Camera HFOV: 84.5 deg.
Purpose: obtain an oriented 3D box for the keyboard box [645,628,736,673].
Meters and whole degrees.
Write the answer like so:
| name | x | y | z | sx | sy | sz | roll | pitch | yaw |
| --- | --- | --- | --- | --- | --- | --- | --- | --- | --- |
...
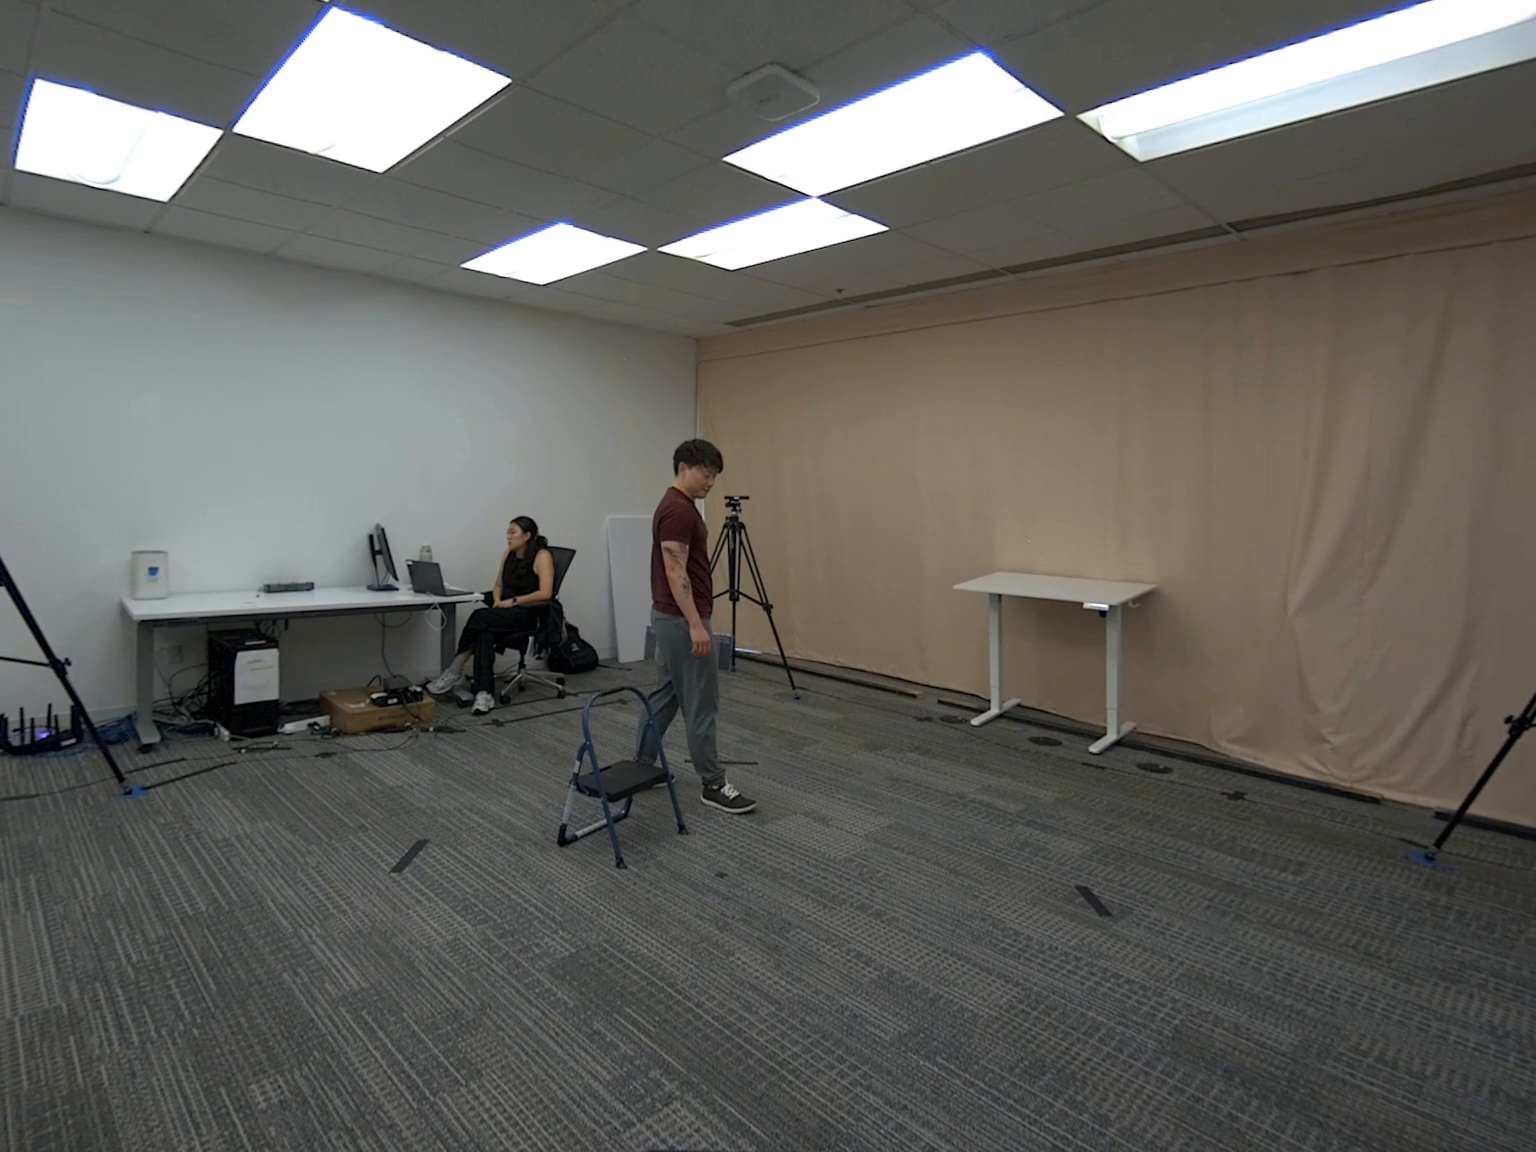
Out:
| name | x | y | z | sx | sy | sz | roll | pitch | yaw |
| --- | --- | --- | --- | --- | --- | --- | --- | --- | --- |
| keyboard box | -0.397 | 0.354 | 4.217 | 0.440 | 0.175 | 0.059 | 7 | 6 | 8 |
